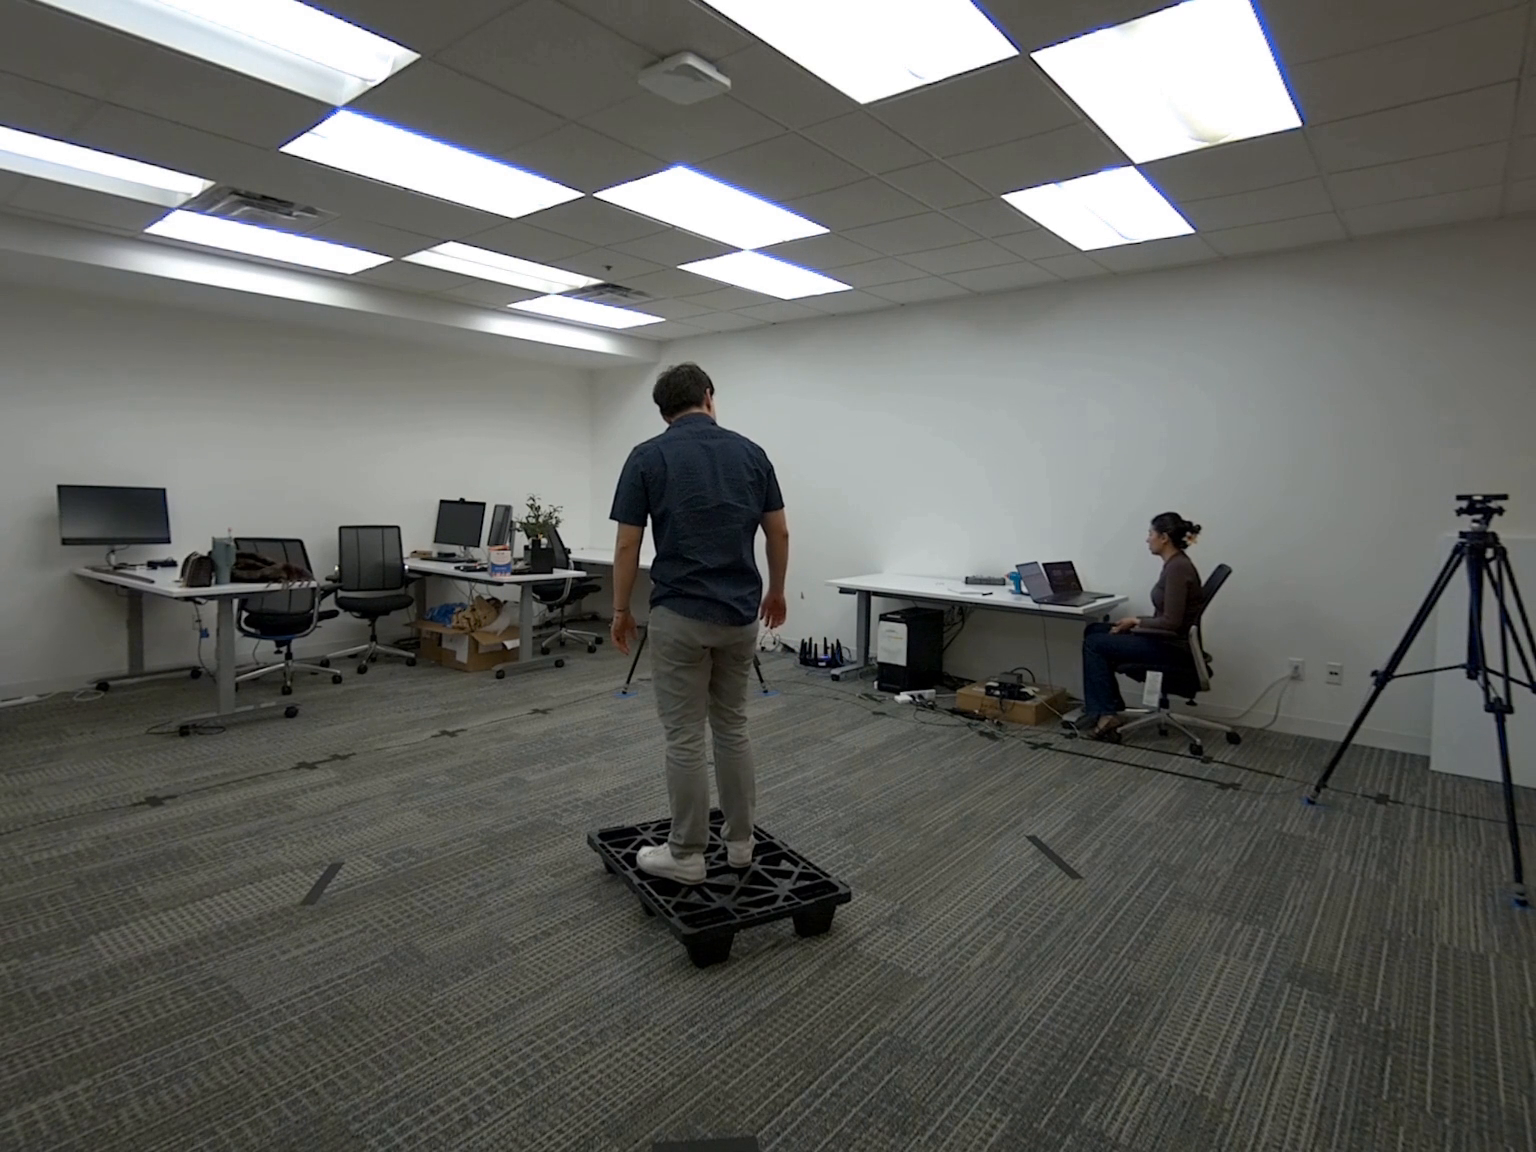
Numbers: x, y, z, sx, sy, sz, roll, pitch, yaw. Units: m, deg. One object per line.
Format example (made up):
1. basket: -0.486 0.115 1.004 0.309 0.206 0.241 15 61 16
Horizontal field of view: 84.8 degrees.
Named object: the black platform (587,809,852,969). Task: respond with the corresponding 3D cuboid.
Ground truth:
1. black platform: -0.205 1.023 2.873 0.589 0.143 0.830 -3 7 -30
